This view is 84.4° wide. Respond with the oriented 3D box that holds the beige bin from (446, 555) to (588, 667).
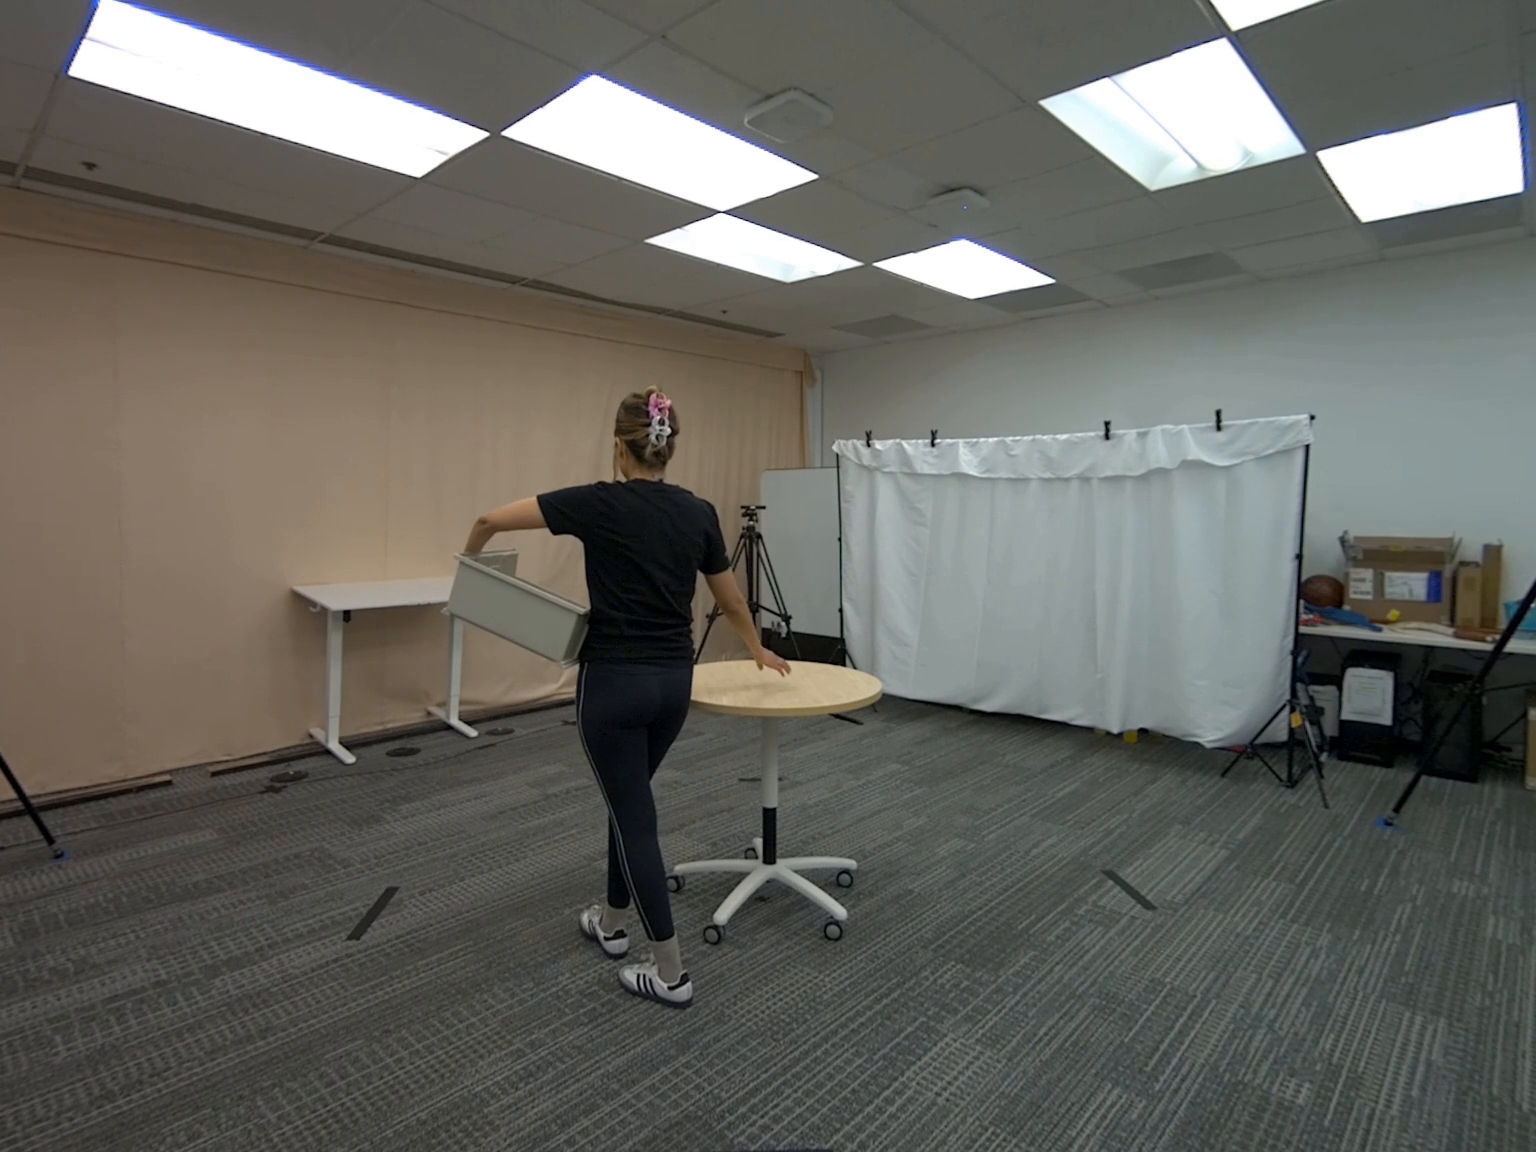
[{"bbox_3d":[-0.674,0.088,2.498,0.429,0.188,0.372,22,9,11],"label":"beige bin"}]
